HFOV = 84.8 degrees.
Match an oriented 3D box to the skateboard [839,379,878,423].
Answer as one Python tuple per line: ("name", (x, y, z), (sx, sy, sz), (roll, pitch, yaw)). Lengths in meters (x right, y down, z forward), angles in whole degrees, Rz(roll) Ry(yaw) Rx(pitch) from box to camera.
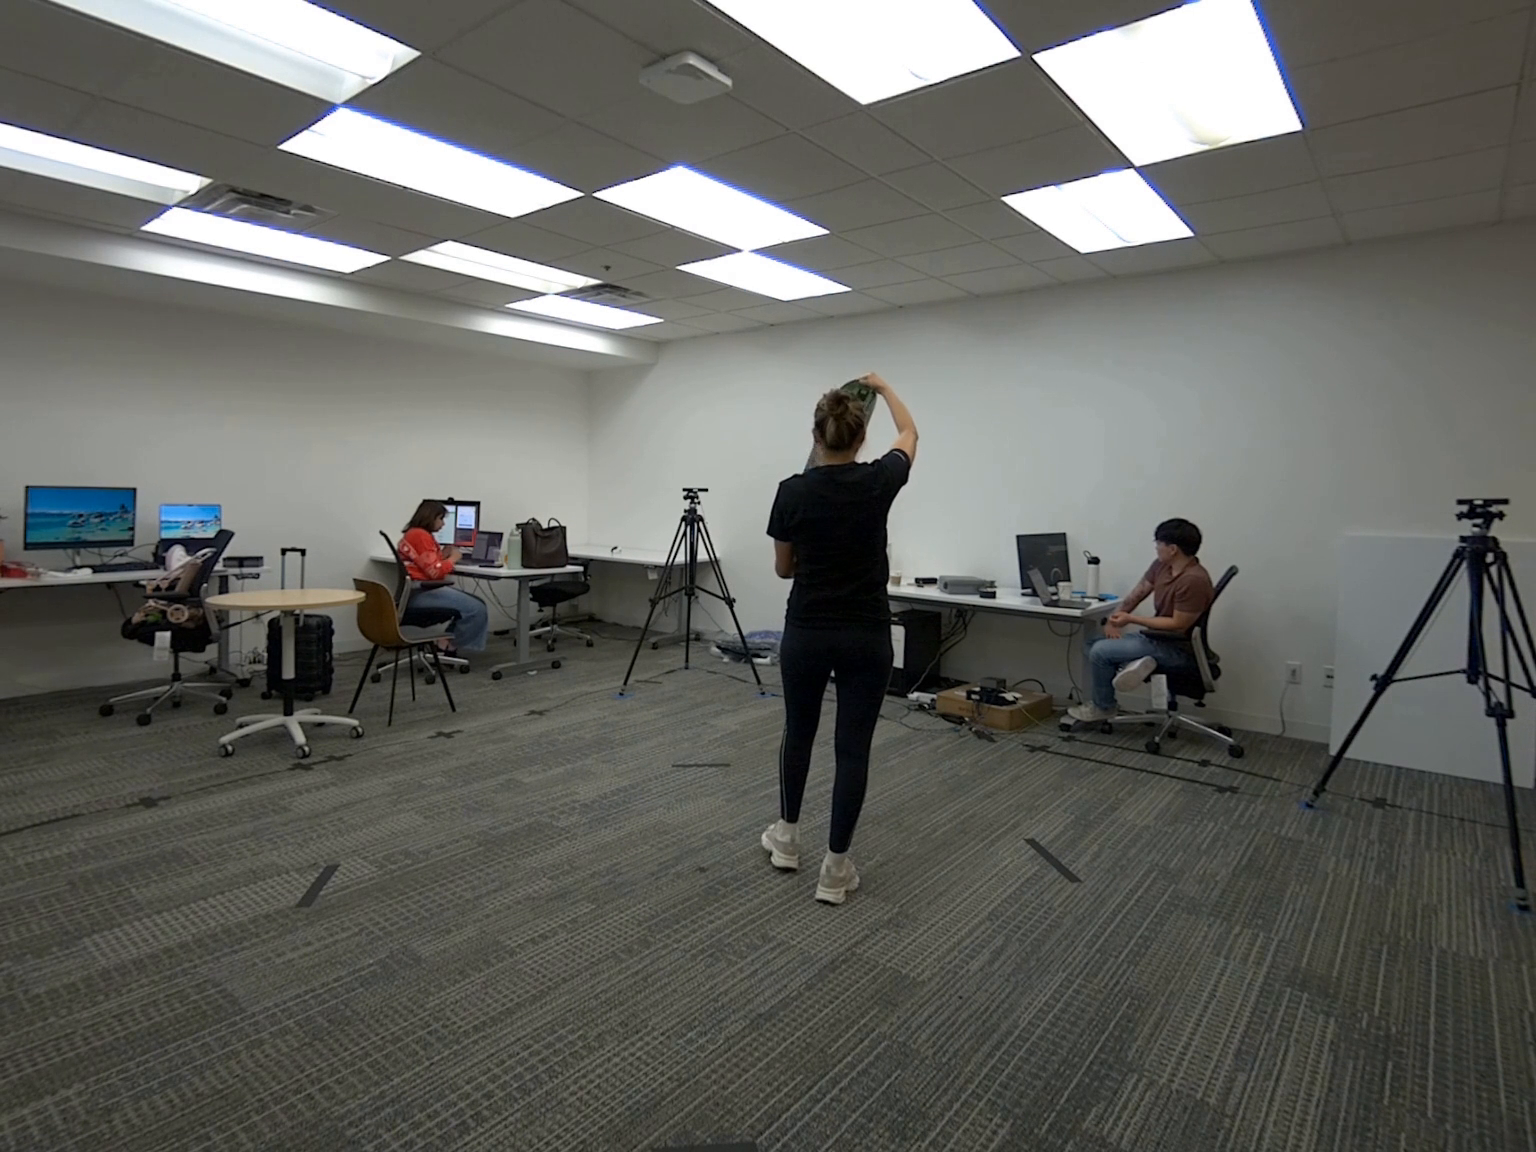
("skateboard", (0.196, -0.389, 3.266), (0.201, 0.783, 0.106), (25, 6, 36))
